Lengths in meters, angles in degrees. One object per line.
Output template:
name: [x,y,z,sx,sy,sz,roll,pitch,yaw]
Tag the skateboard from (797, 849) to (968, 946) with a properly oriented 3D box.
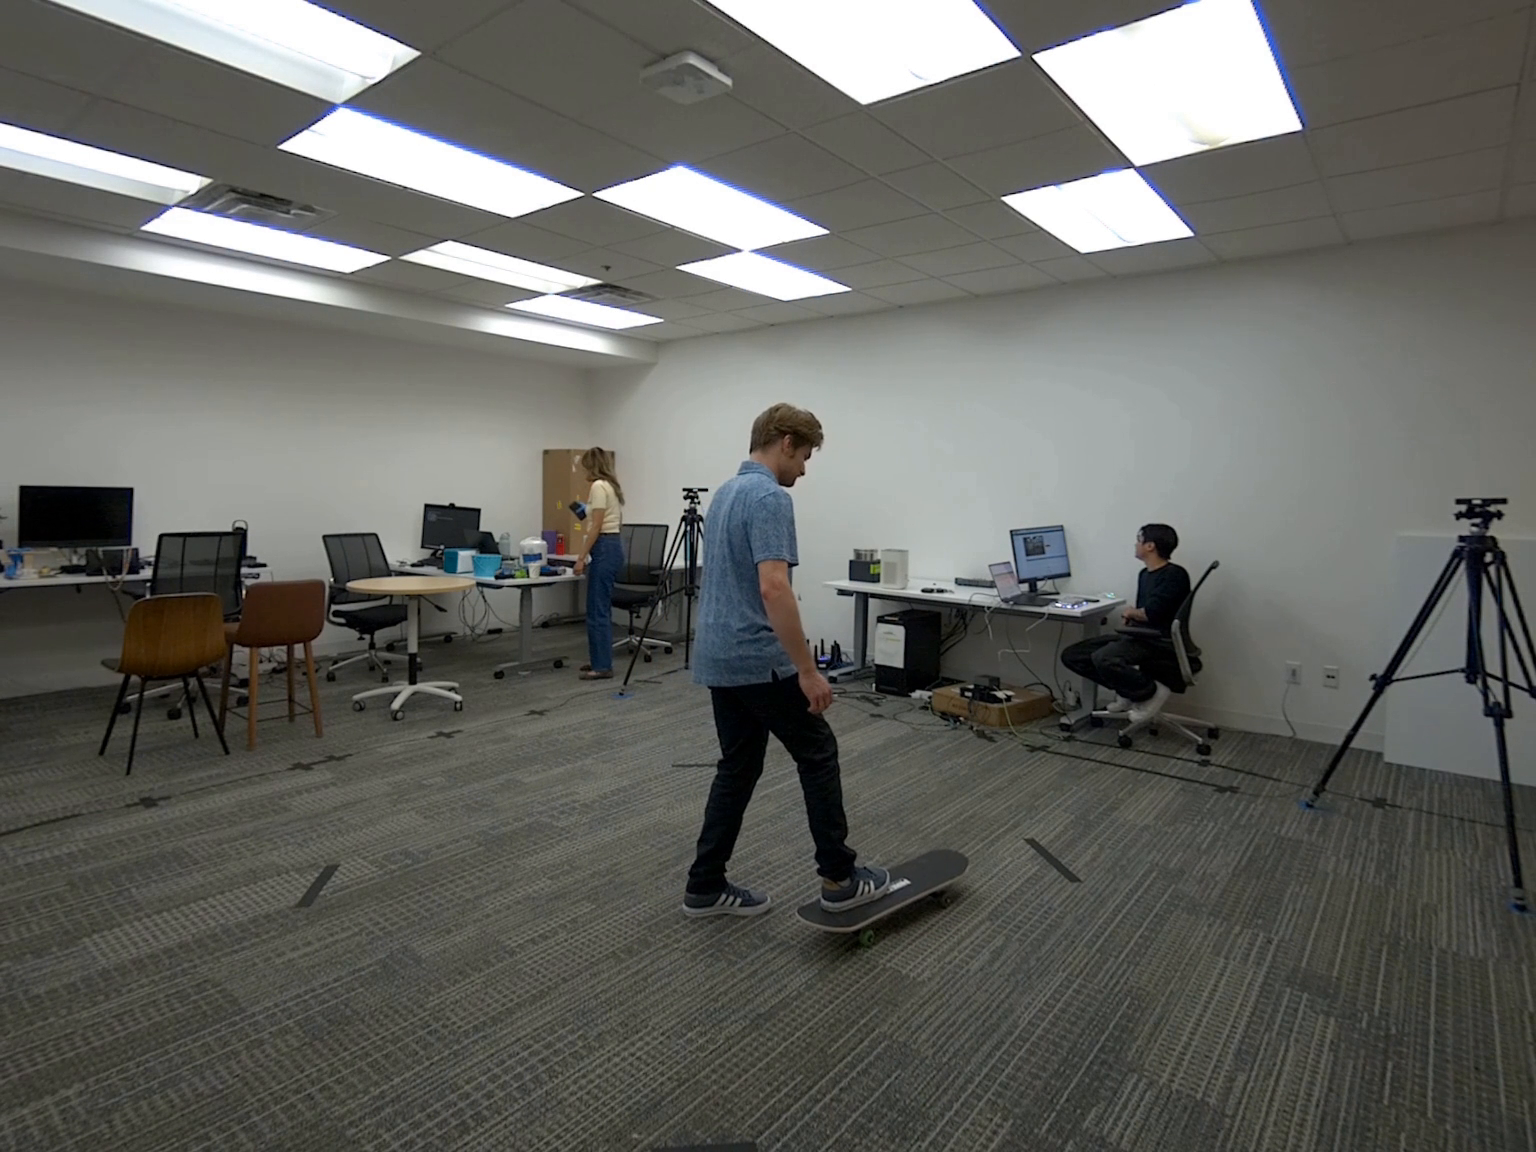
skateboard: [0.389,1.057,2.801,0.762,0.110,0.200,-4,7,-41]
